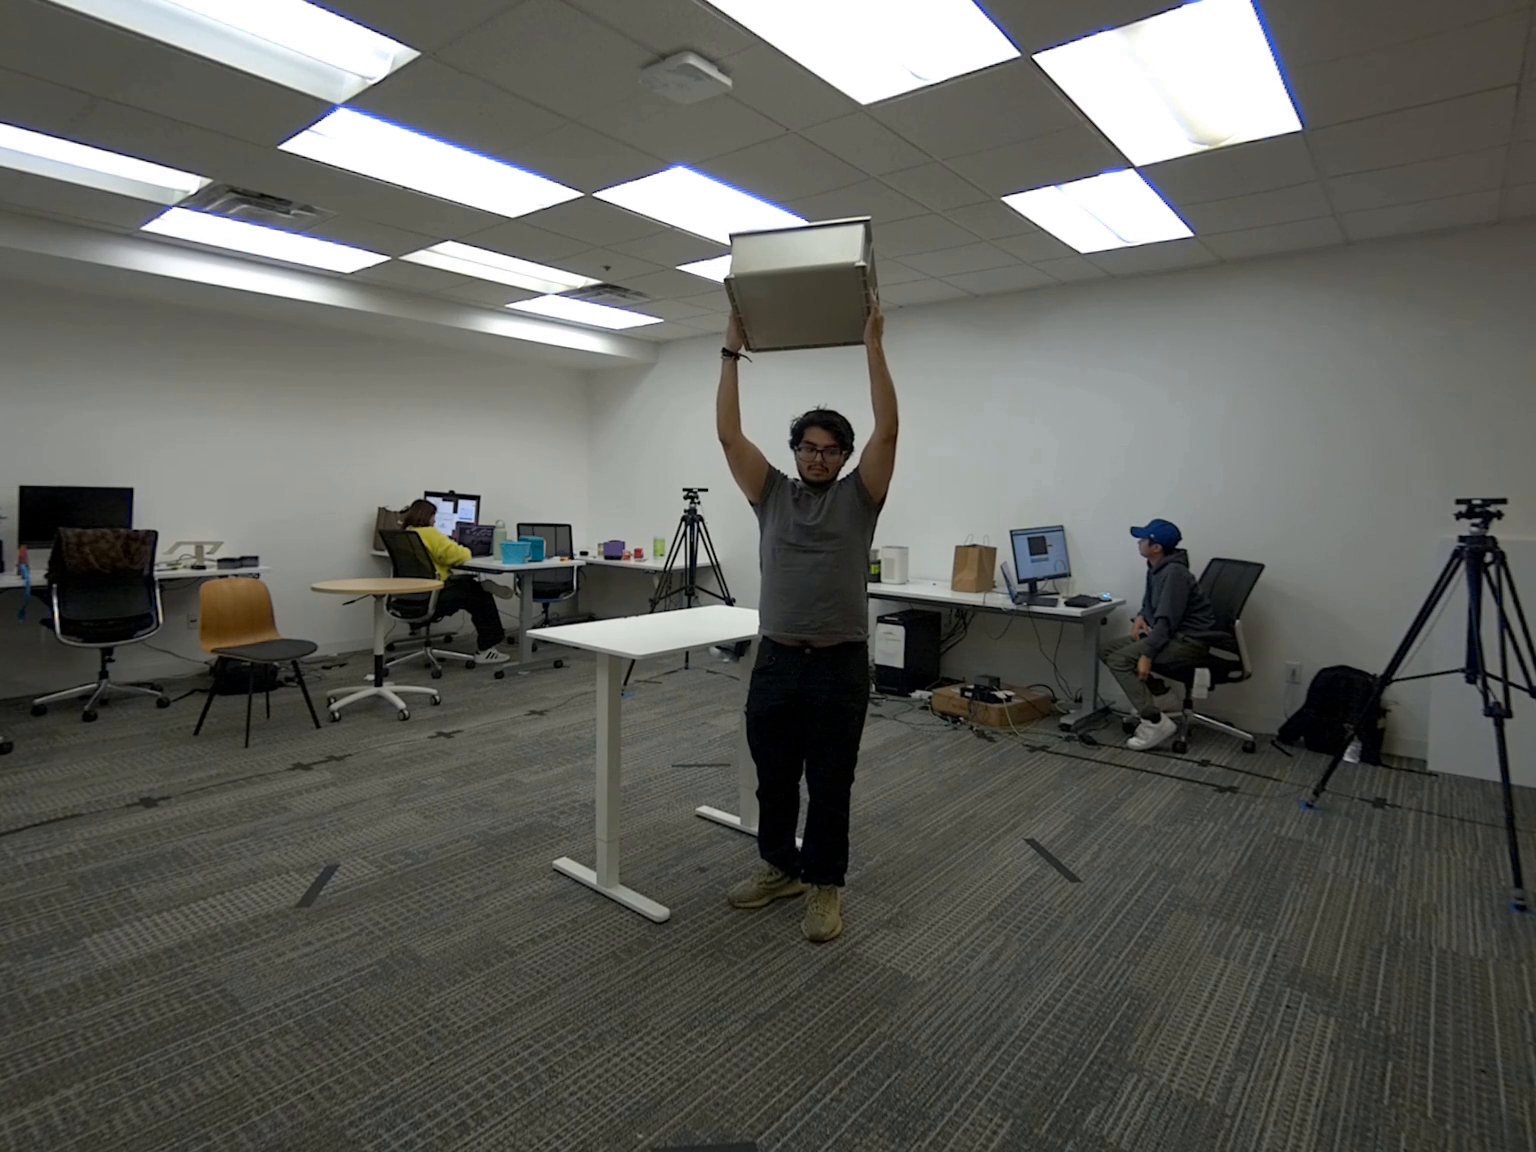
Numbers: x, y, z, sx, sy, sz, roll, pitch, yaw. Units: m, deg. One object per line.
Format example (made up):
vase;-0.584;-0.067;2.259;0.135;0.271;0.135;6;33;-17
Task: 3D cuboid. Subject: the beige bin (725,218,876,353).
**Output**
beige bin;0.103;-0.857;2.579;0.429;0.193;0.364;1;-27;15
